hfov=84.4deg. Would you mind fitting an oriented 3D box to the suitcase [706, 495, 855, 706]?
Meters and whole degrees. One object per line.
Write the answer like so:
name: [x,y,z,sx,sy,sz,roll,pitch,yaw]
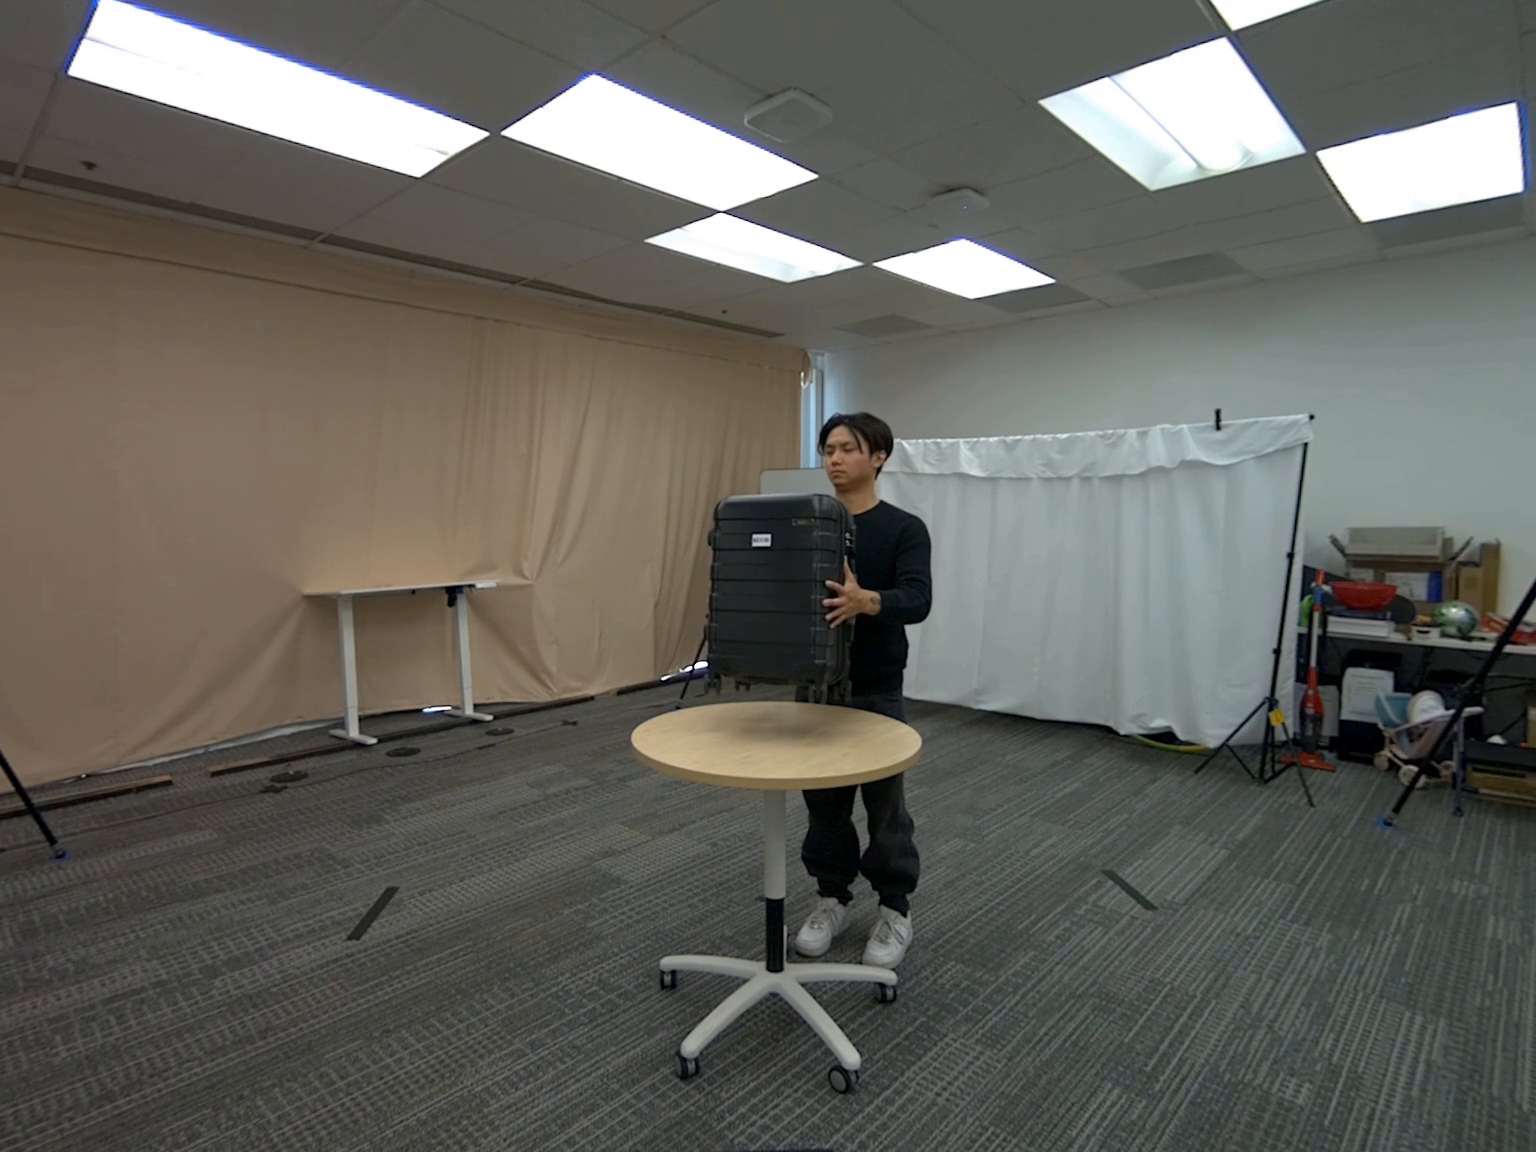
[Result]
suitcase: [0.041,0.046,2.274,0.385,0.550,0.241,1,-4,27]
